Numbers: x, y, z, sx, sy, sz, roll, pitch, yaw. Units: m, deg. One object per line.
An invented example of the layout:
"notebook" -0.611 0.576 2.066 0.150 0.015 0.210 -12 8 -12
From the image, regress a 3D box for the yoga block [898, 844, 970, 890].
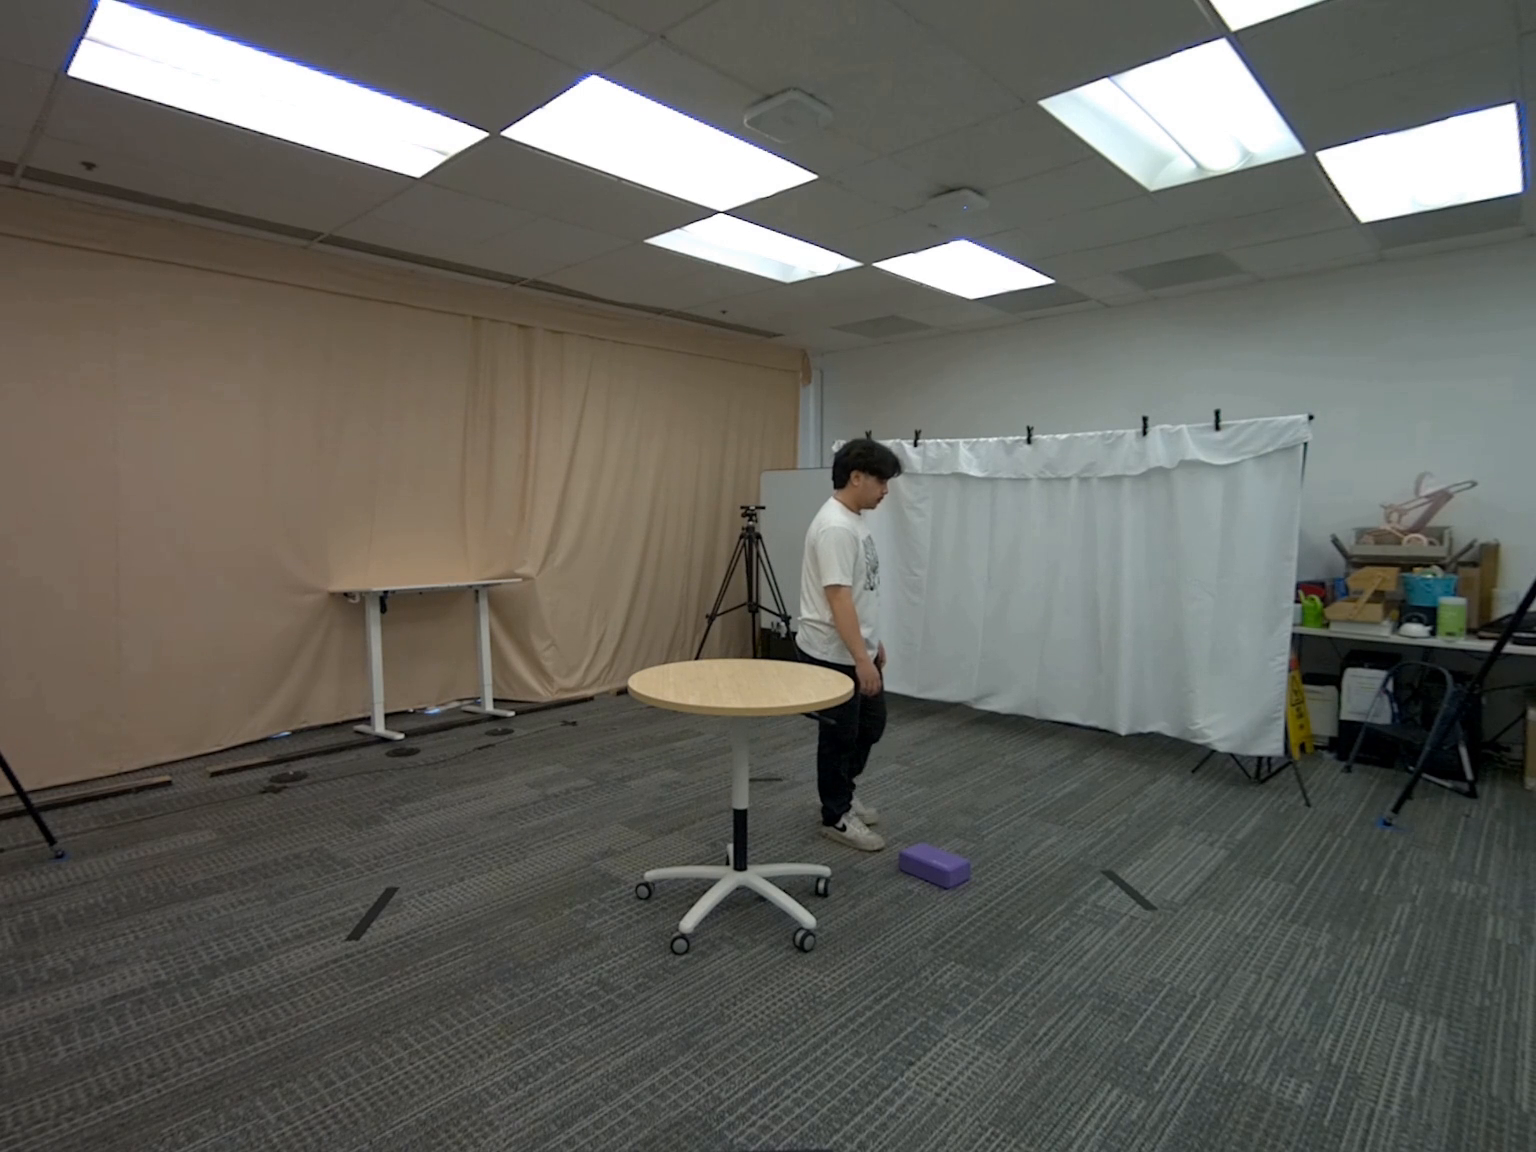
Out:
"yoga block" 0.628 1.086 3.174 0.144 0.076 0.237 -4 7 -41
